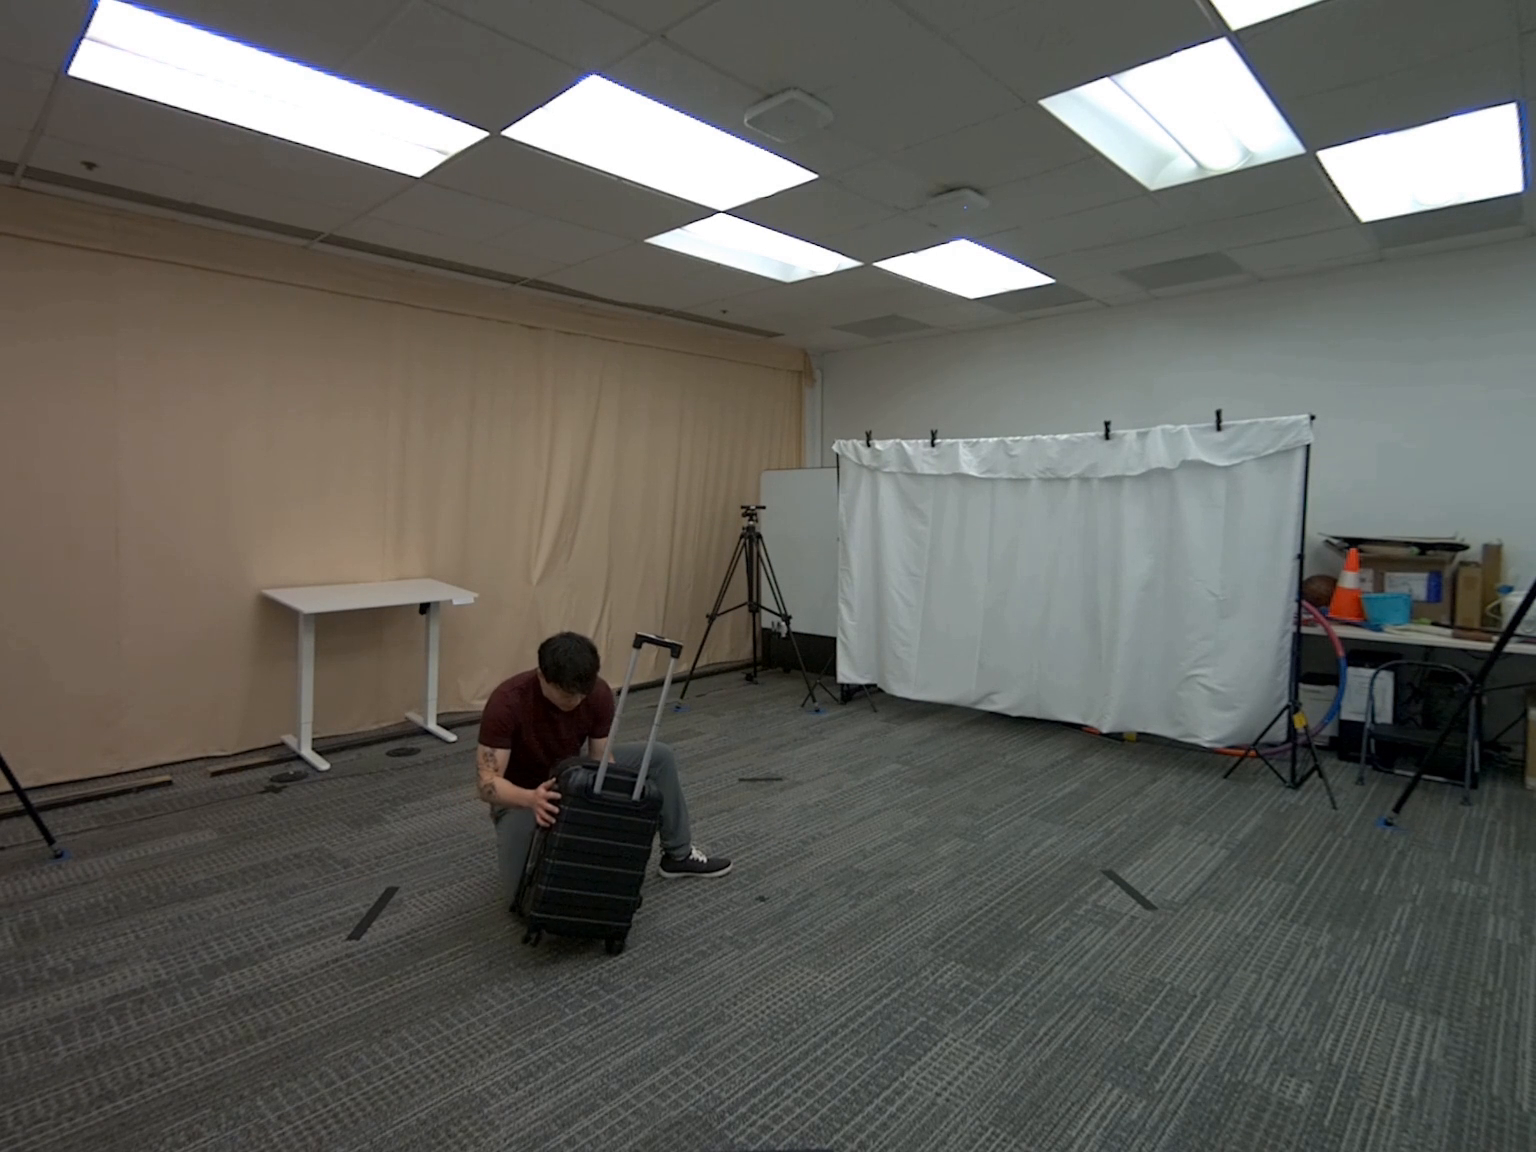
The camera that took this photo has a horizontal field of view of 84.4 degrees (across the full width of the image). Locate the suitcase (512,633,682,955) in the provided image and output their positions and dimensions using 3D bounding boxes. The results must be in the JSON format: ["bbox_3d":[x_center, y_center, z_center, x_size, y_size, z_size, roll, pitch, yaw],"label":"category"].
[{"bbox_3d":[-0.509,0.668,2.675,0.375,0.980,0.263,18,-5,-22],"label":"suitcase"}]
